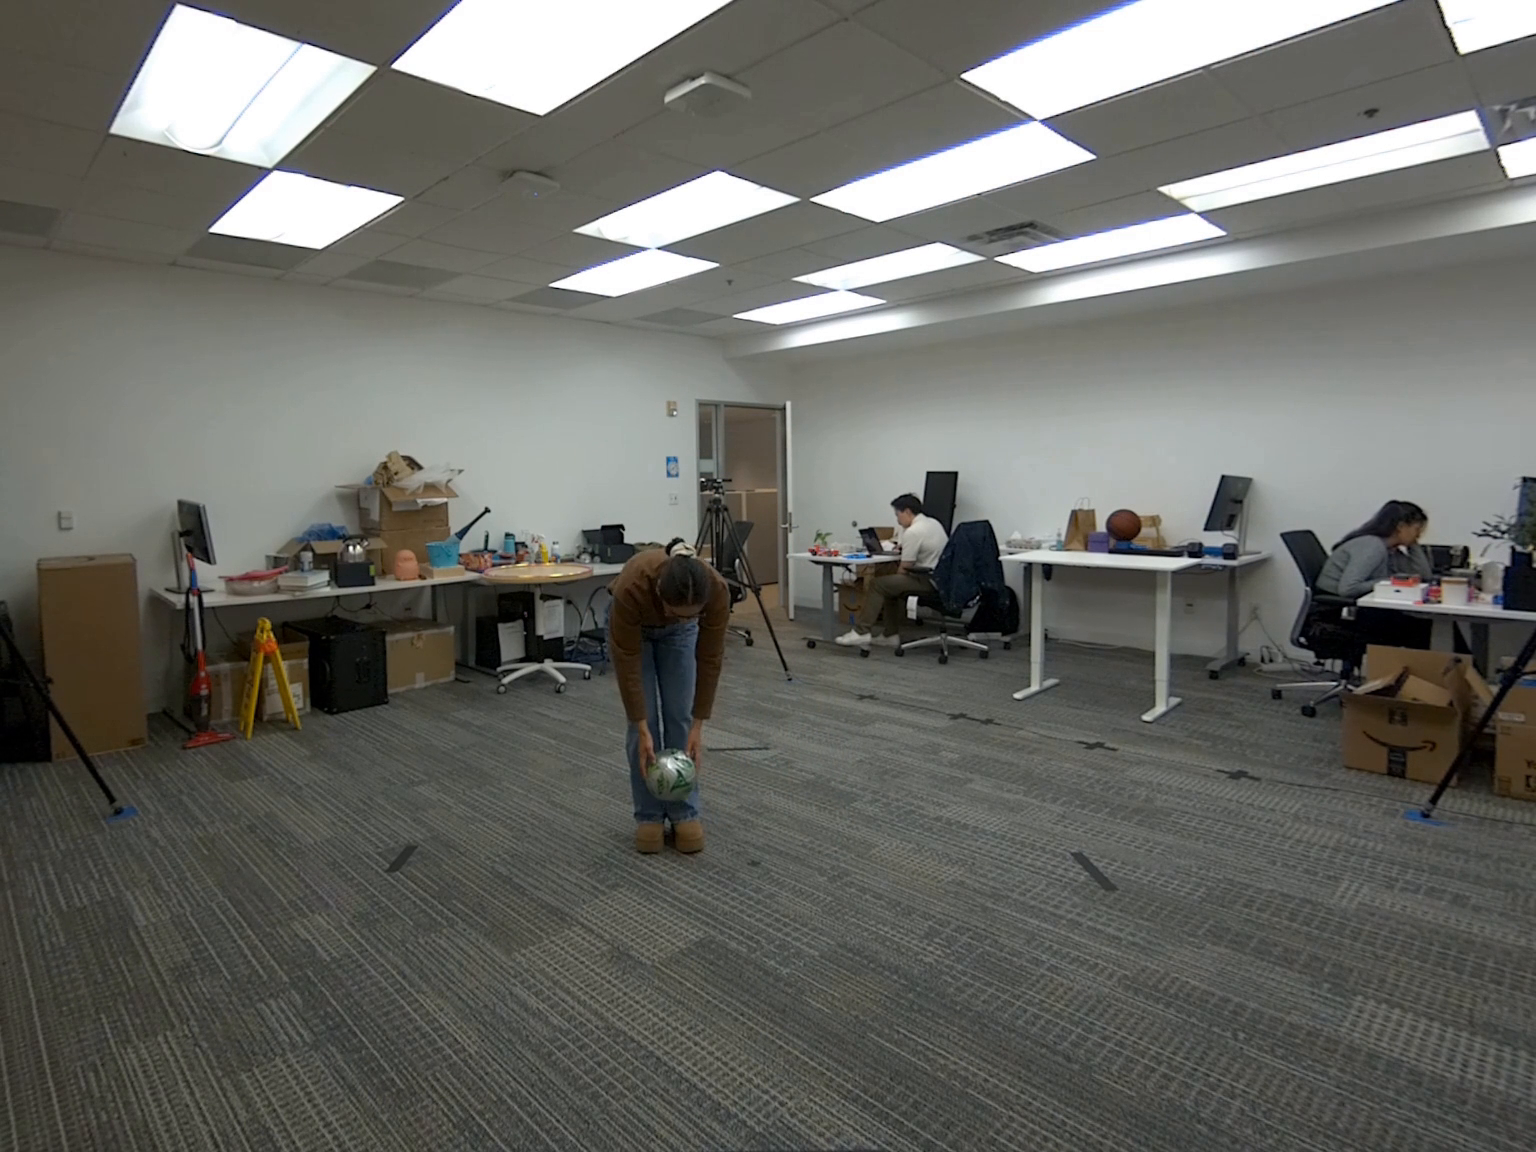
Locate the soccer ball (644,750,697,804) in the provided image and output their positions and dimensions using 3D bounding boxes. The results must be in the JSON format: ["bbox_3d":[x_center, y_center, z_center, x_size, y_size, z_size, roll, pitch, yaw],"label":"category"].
[{"bbox_3d":[-0.356,0.722,3.100,0.187,0.187,0.188,-1,5,-2],"label":"soccer ball"}]
